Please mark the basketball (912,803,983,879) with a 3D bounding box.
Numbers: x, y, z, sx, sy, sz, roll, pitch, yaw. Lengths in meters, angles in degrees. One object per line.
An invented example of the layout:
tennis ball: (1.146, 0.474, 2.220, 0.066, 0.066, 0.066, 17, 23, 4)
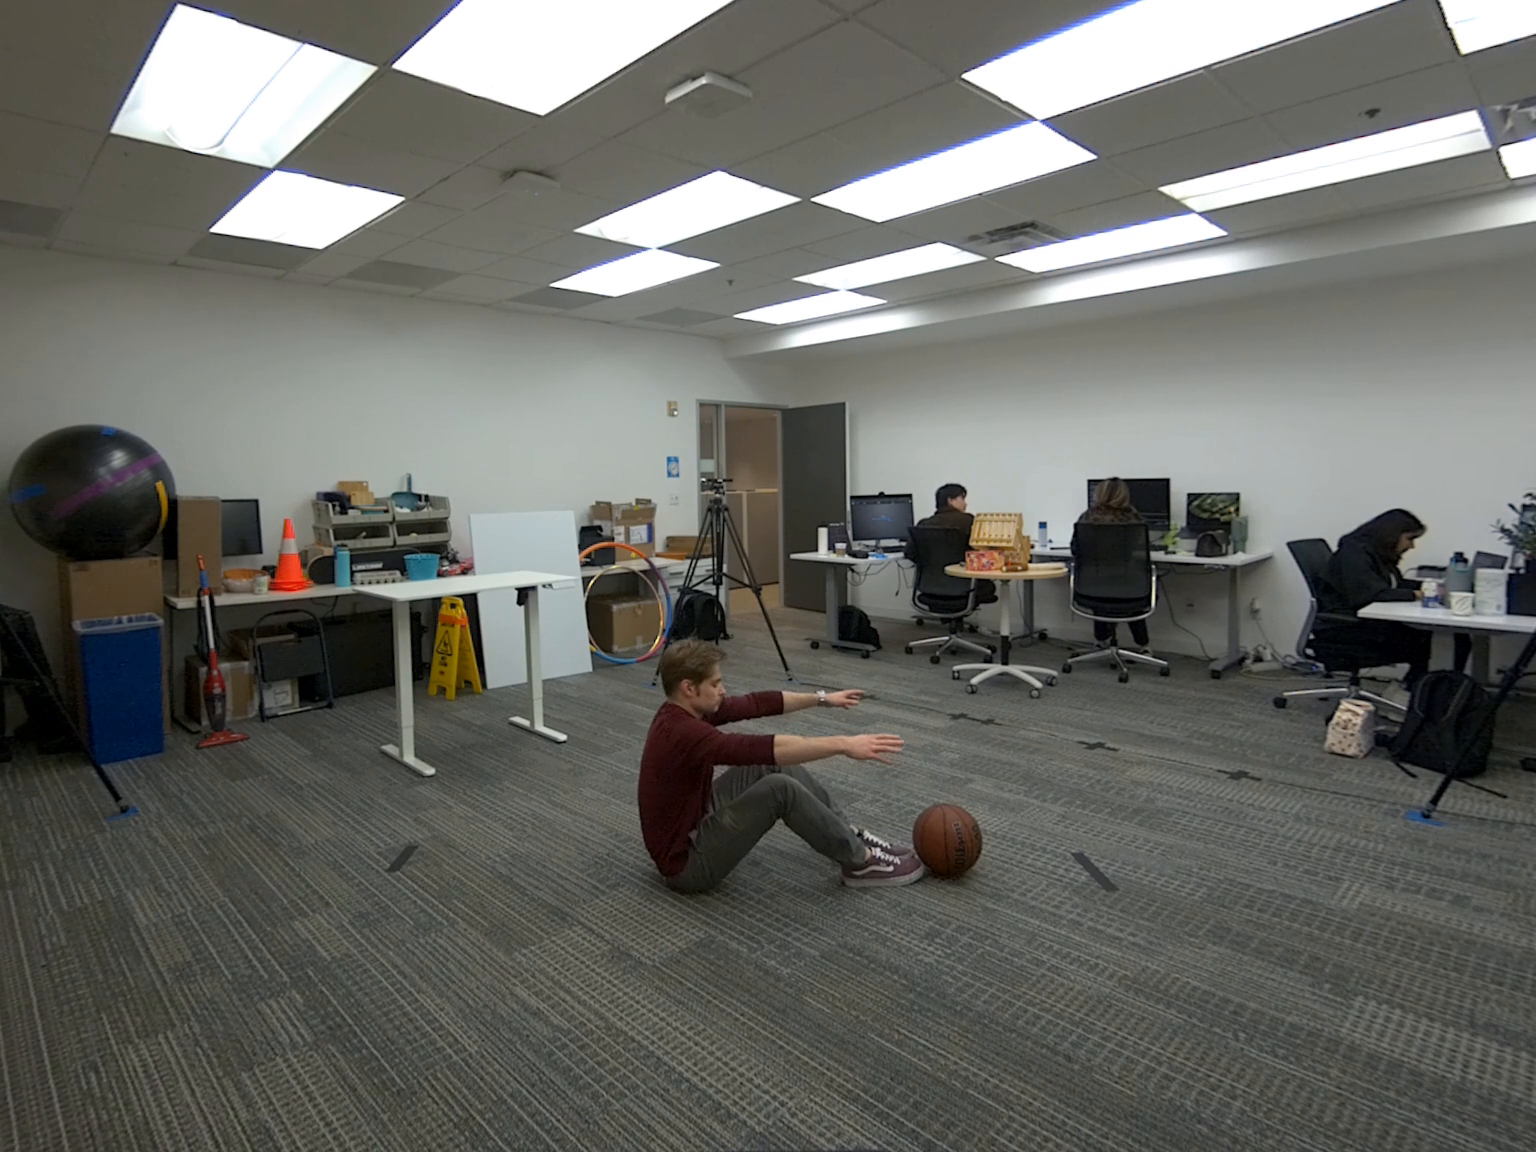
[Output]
basketball: (0.631, 0.919, 3.003, 0.236, 0.235, 0.237, -1, 5, -2)
